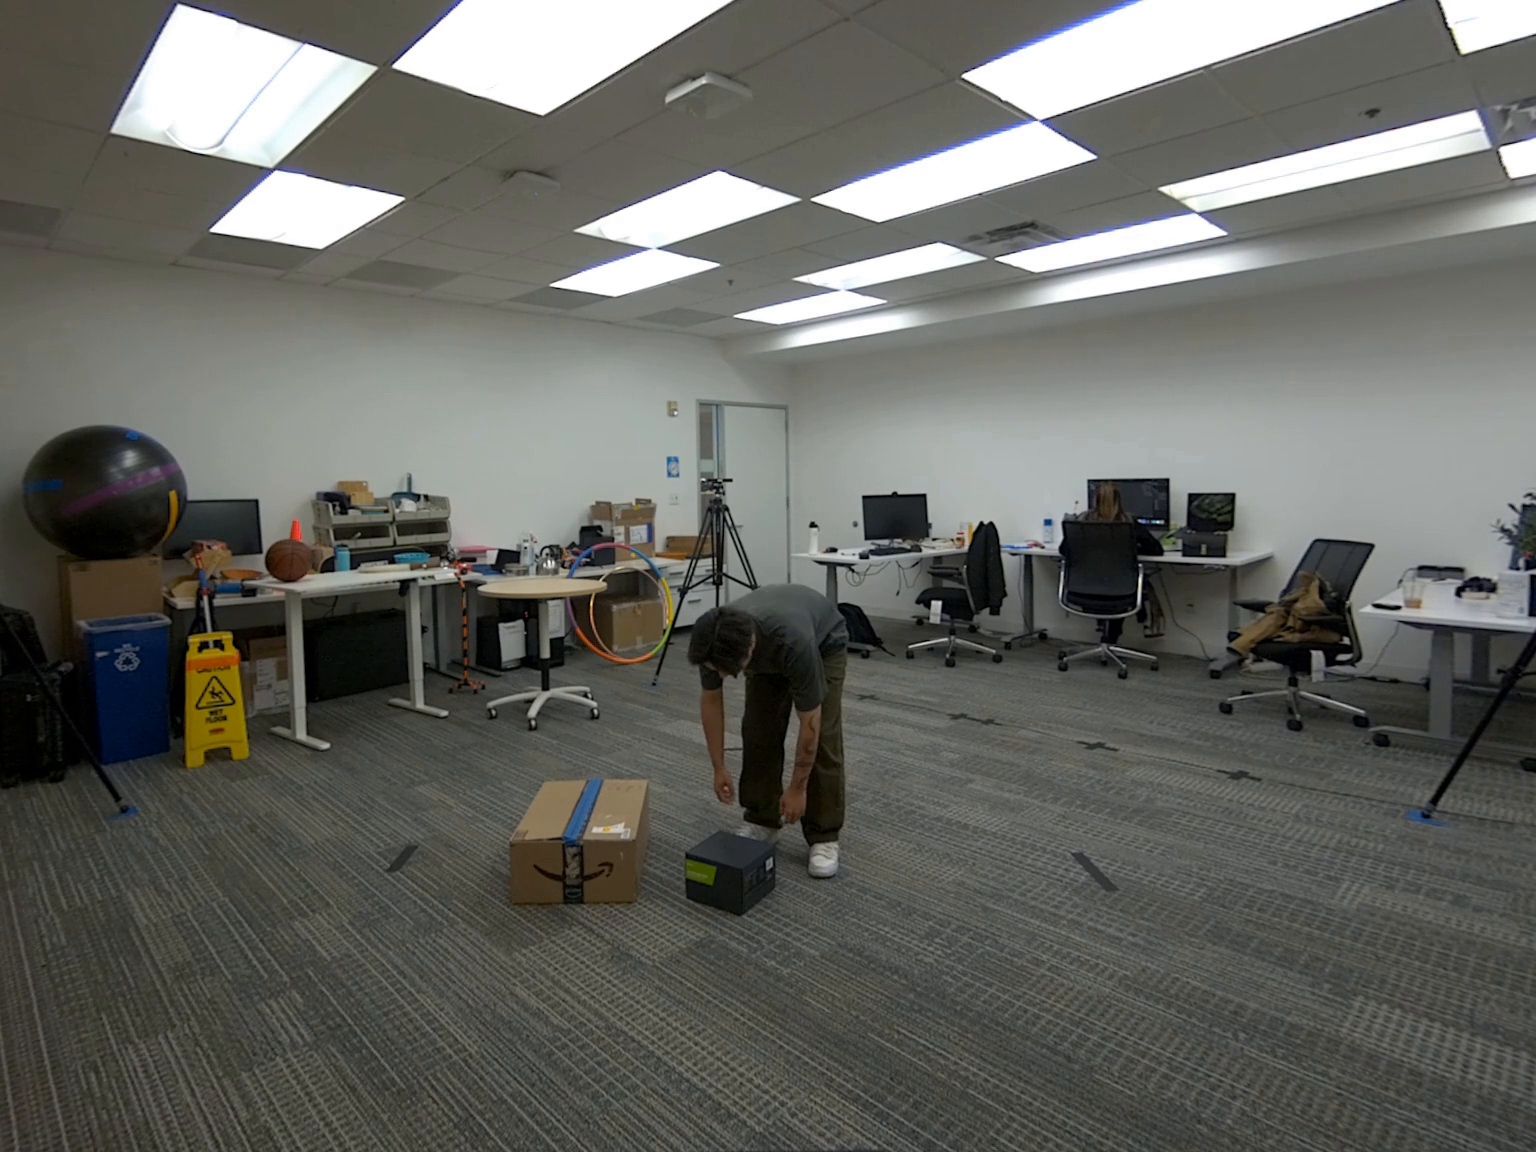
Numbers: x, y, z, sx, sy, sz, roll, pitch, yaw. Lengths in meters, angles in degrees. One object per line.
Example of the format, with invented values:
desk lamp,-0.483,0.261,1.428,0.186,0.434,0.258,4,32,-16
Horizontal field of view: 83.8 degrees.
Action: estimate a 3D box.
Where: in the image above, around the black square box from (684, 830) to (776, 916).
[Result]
black square box,-0.124,0.989,2.880,0.234,0.155,0.212,3,7,32
